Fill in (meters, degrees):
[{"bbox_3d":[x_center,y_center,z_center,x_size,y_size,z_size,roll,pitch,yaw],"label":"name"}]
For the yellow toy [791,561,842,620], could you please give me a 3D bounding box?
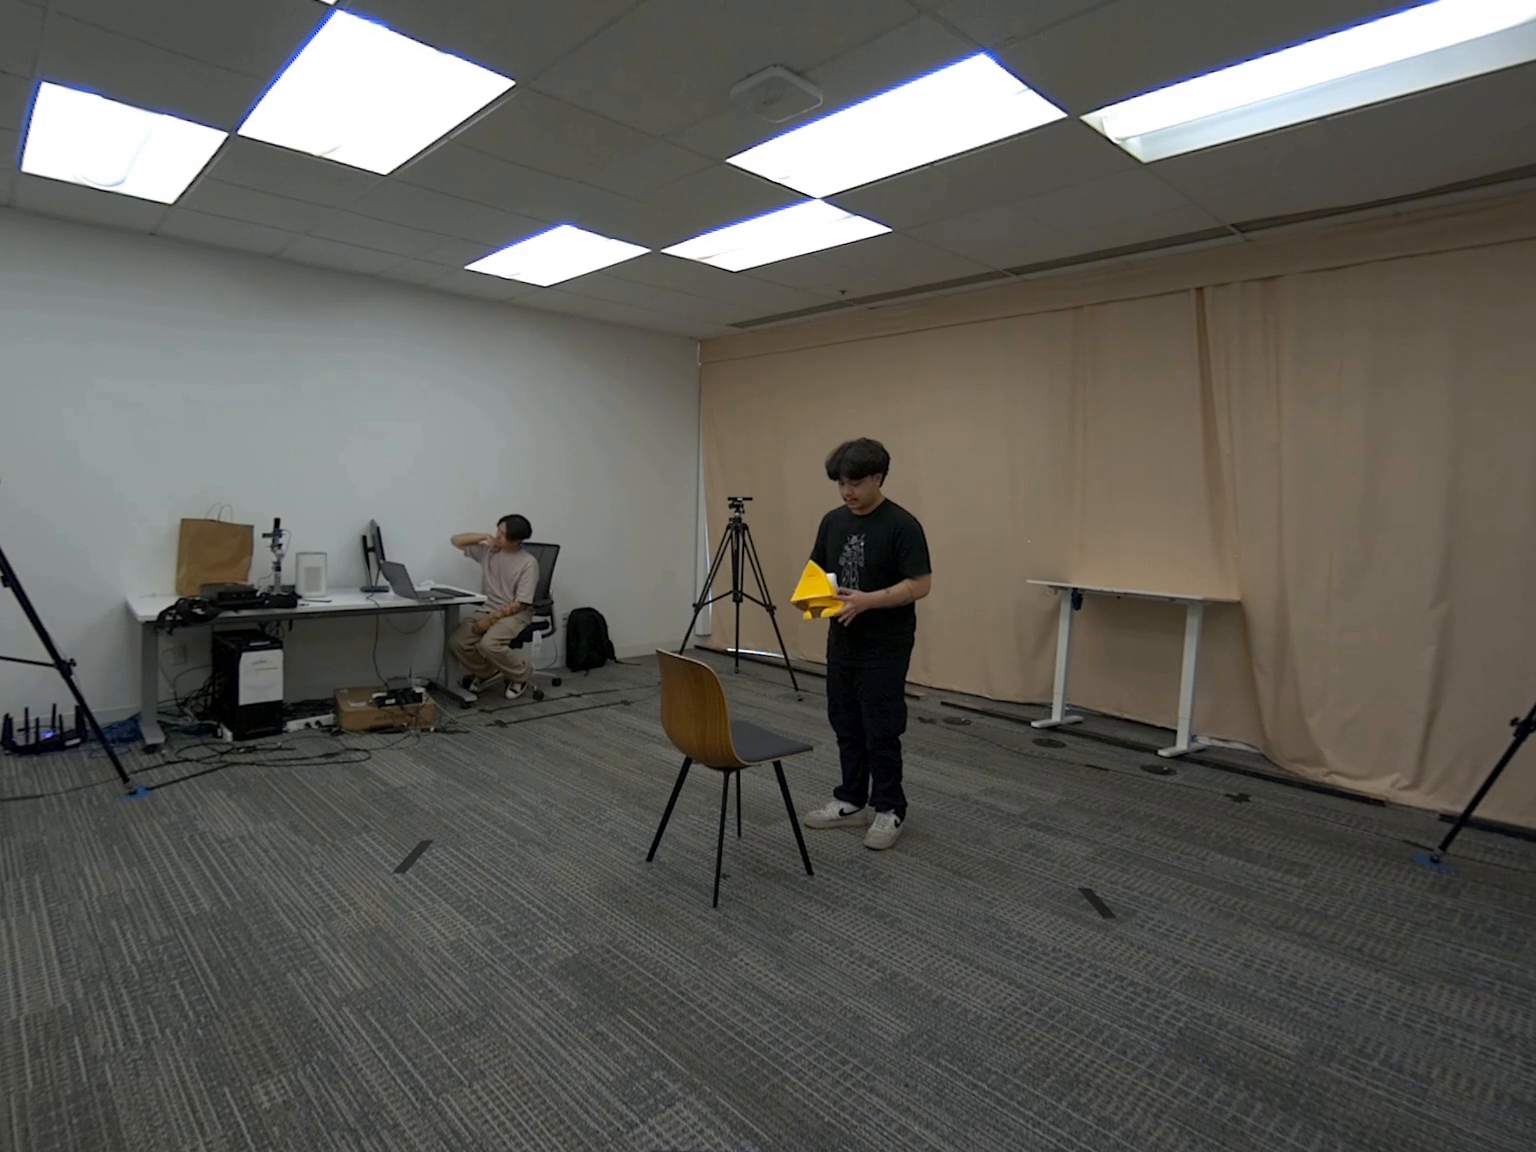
[{"bbox_3d":[0.219,0.051,3.355,0.208,0.232,0.188,-12,-7,43],"label":"yellow toy"}]
